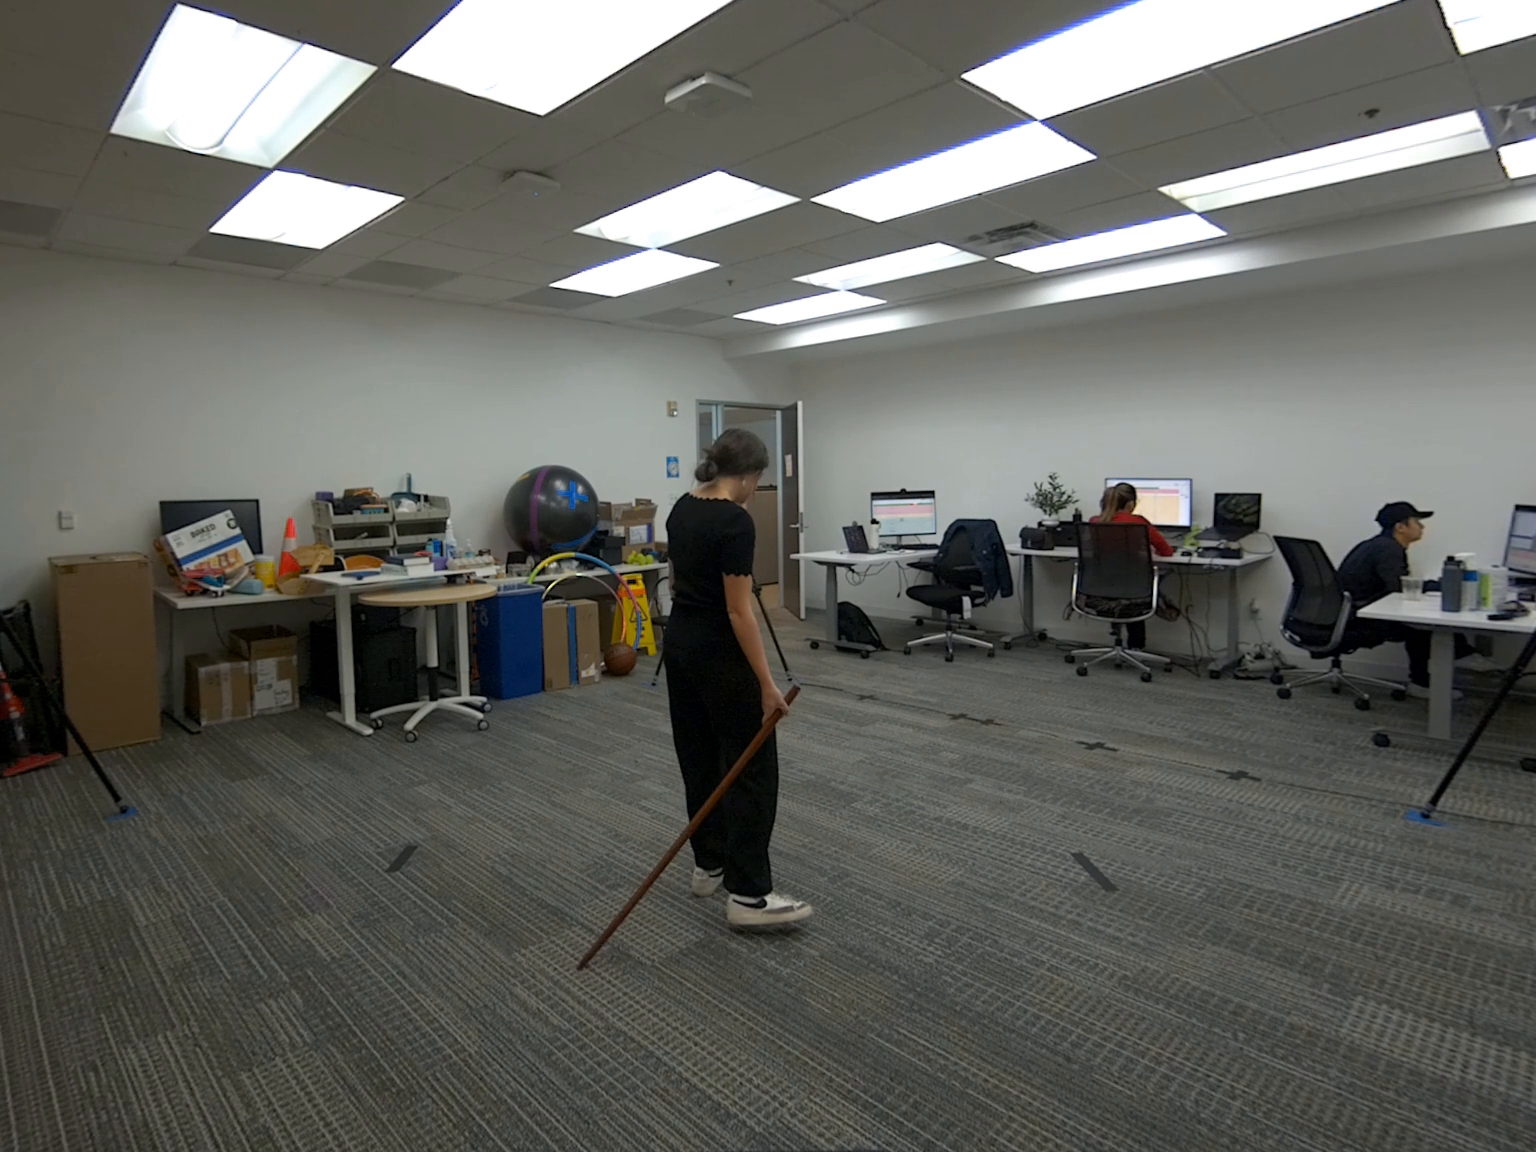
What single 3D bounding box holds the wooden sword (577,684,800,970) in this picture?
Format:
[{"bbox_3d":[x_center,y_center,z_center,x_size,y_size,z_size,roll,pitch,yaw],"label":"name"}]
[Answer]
[{"bbox_3d":[-0.215,0.744,2.546,0.051,1.025,0.024,40,-8,4],"label":"wooden sword"}]
